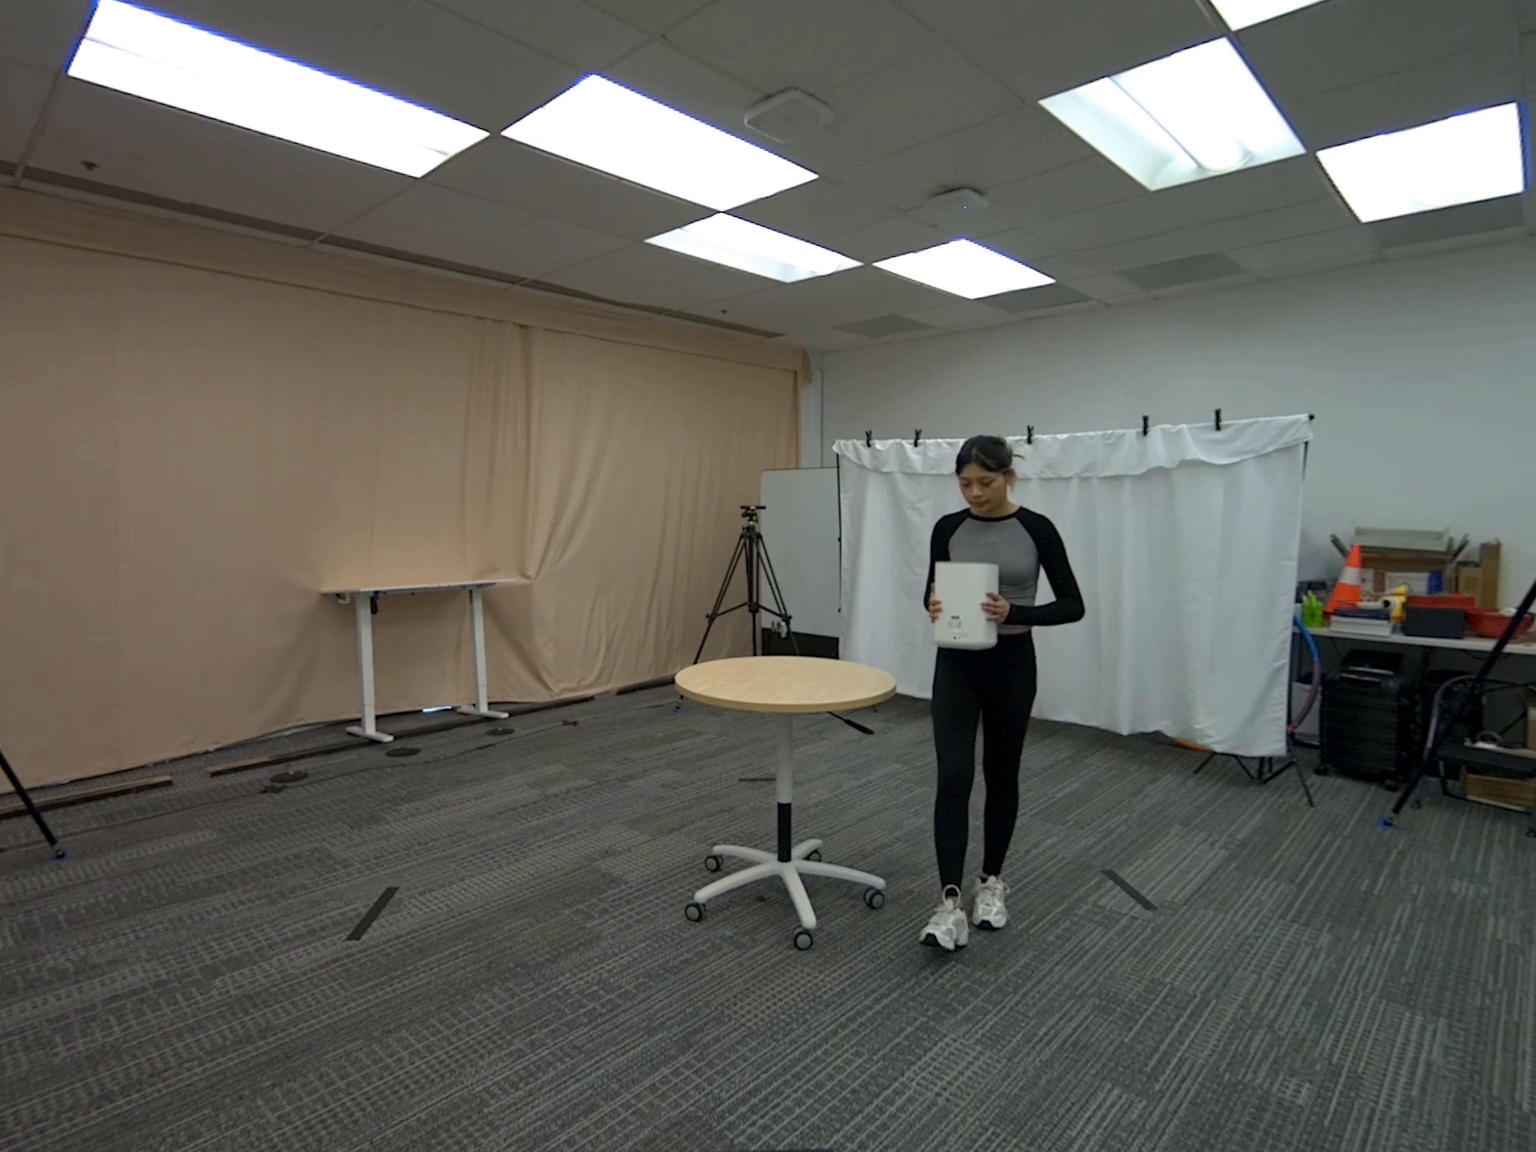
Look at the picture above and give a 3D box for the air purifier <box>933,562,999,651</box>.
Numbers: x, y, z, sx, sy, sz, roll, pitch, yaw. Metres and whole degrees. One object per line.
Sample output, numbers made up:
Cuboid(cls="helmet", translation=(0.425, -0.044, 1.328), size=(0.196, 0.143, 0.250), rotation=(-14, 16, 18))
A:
Cuboid(cls="air purifier", translation=(0.614, 0.095, 2.617), size=(0.175, 0.266, 0.167), rotation=(2, -2, 22))
